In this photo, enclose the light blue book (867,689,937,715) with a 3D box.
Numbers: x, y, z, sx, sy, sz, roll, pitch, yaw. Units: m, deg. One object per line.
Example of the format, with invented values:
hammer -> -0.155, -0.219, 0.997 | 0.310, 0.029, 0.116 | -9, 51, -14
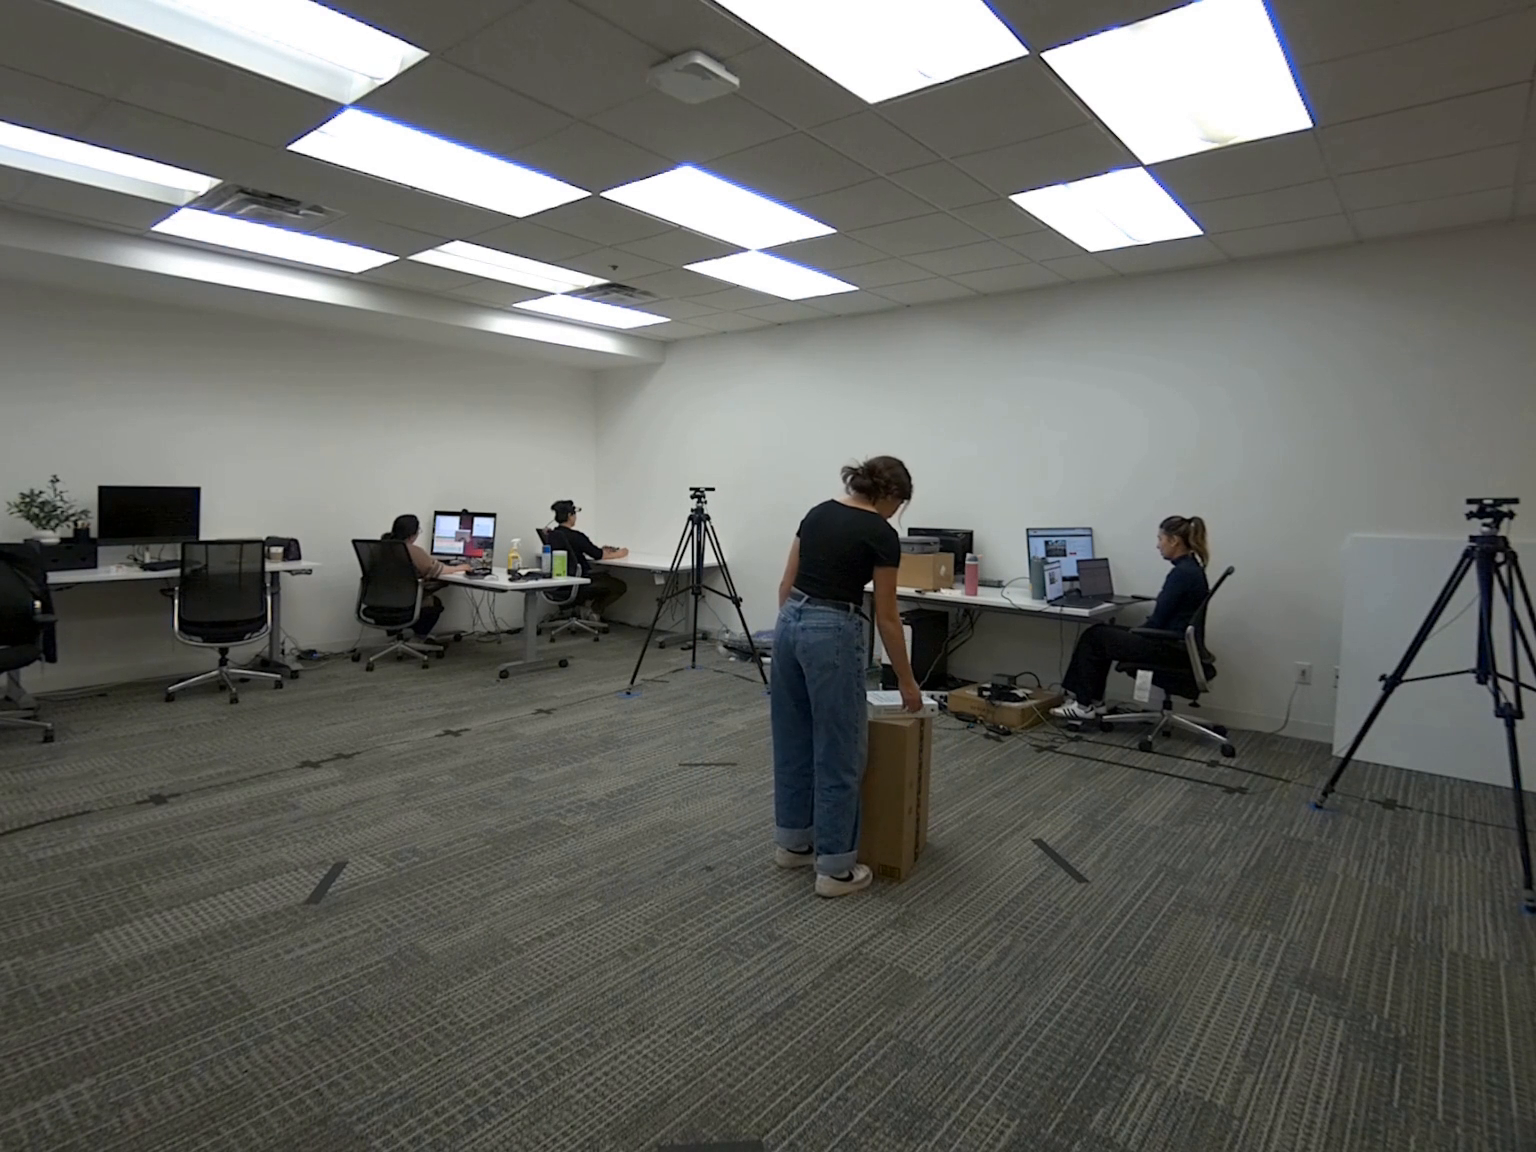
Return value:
light blue book -> 0.468, 0.482, 3.184 | 0.257, 0.059, 0.195 | 1, 5, -16
